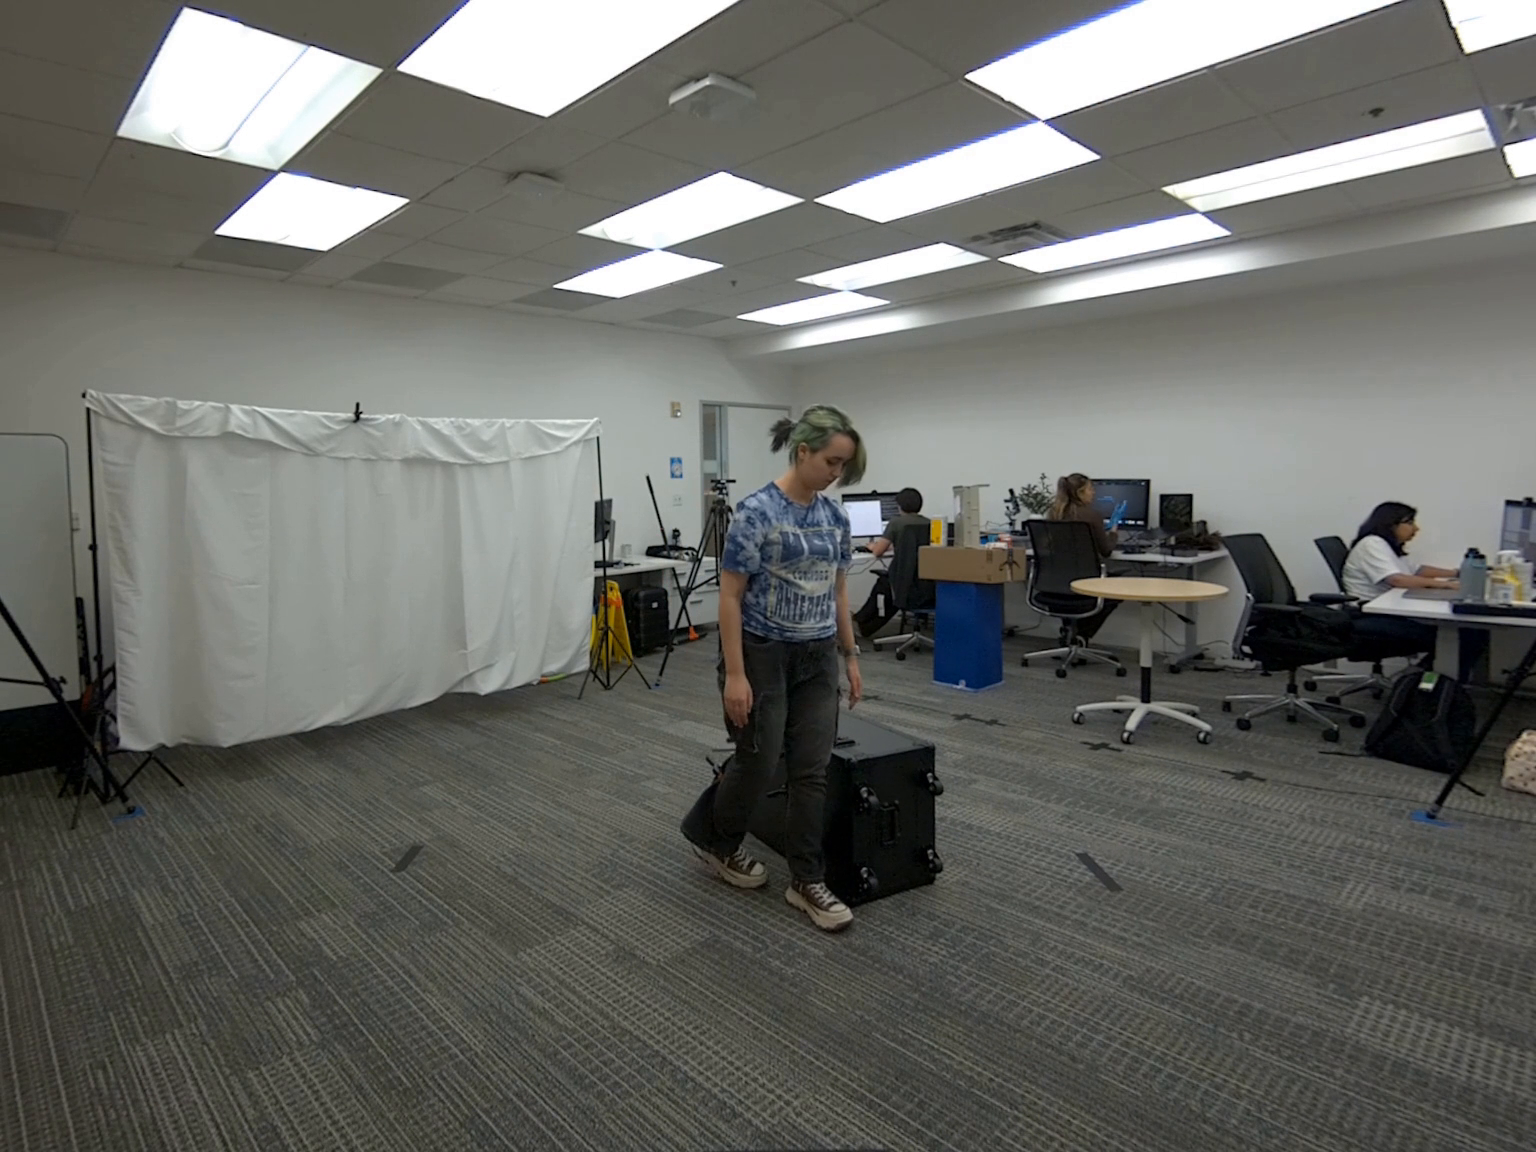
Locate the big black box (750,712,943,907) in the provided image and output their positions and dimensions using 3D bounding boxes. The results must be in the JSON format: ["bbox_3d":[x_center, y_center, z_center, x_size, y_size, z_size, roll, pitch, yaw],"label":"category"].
[{"bbox_3d":[0.258,0.790,3.164,0.387,0.519,0.885,-3,6,-28],"label":"big black box"}]
